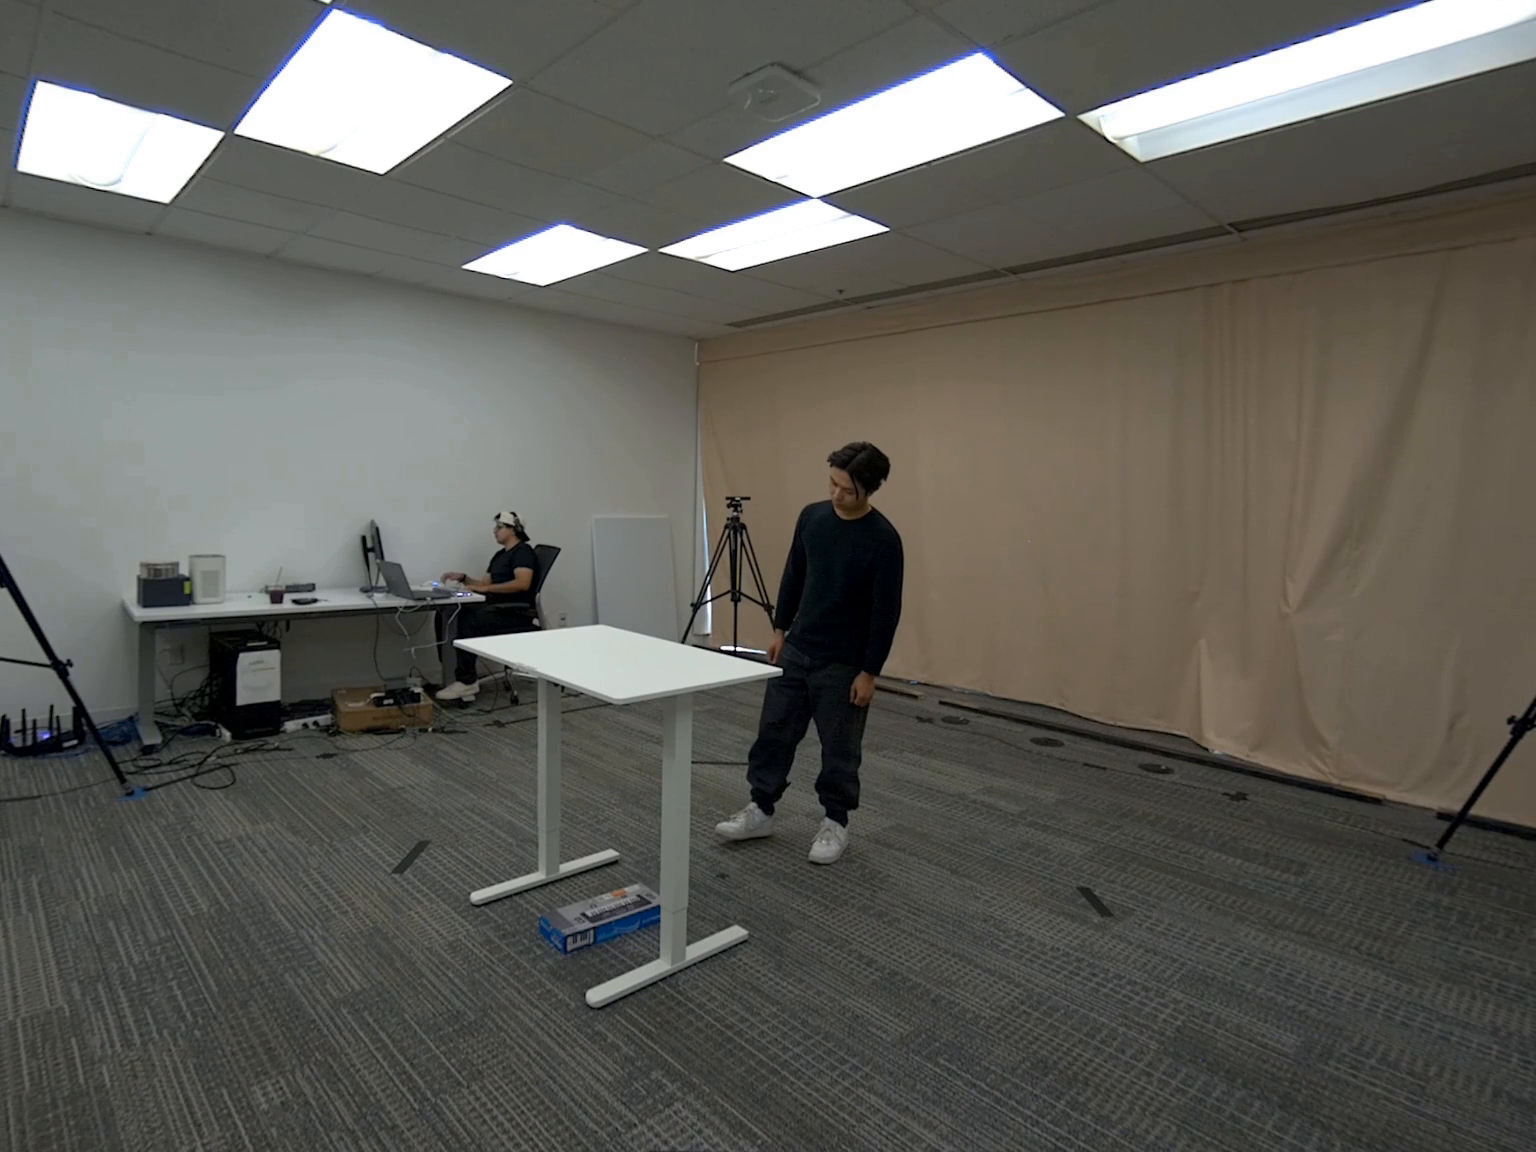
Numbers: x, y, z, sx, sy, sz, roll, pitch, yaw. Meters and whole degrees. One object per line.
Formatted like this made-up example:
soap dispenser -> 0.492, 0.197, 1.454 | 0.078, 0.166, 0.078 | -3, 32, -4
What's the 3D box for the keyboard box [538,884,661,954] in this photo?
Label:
keyboard box -> -0.513, 1.103, 2.742 | 0.427, 0.059, 0.180 | -3, 6, -39
